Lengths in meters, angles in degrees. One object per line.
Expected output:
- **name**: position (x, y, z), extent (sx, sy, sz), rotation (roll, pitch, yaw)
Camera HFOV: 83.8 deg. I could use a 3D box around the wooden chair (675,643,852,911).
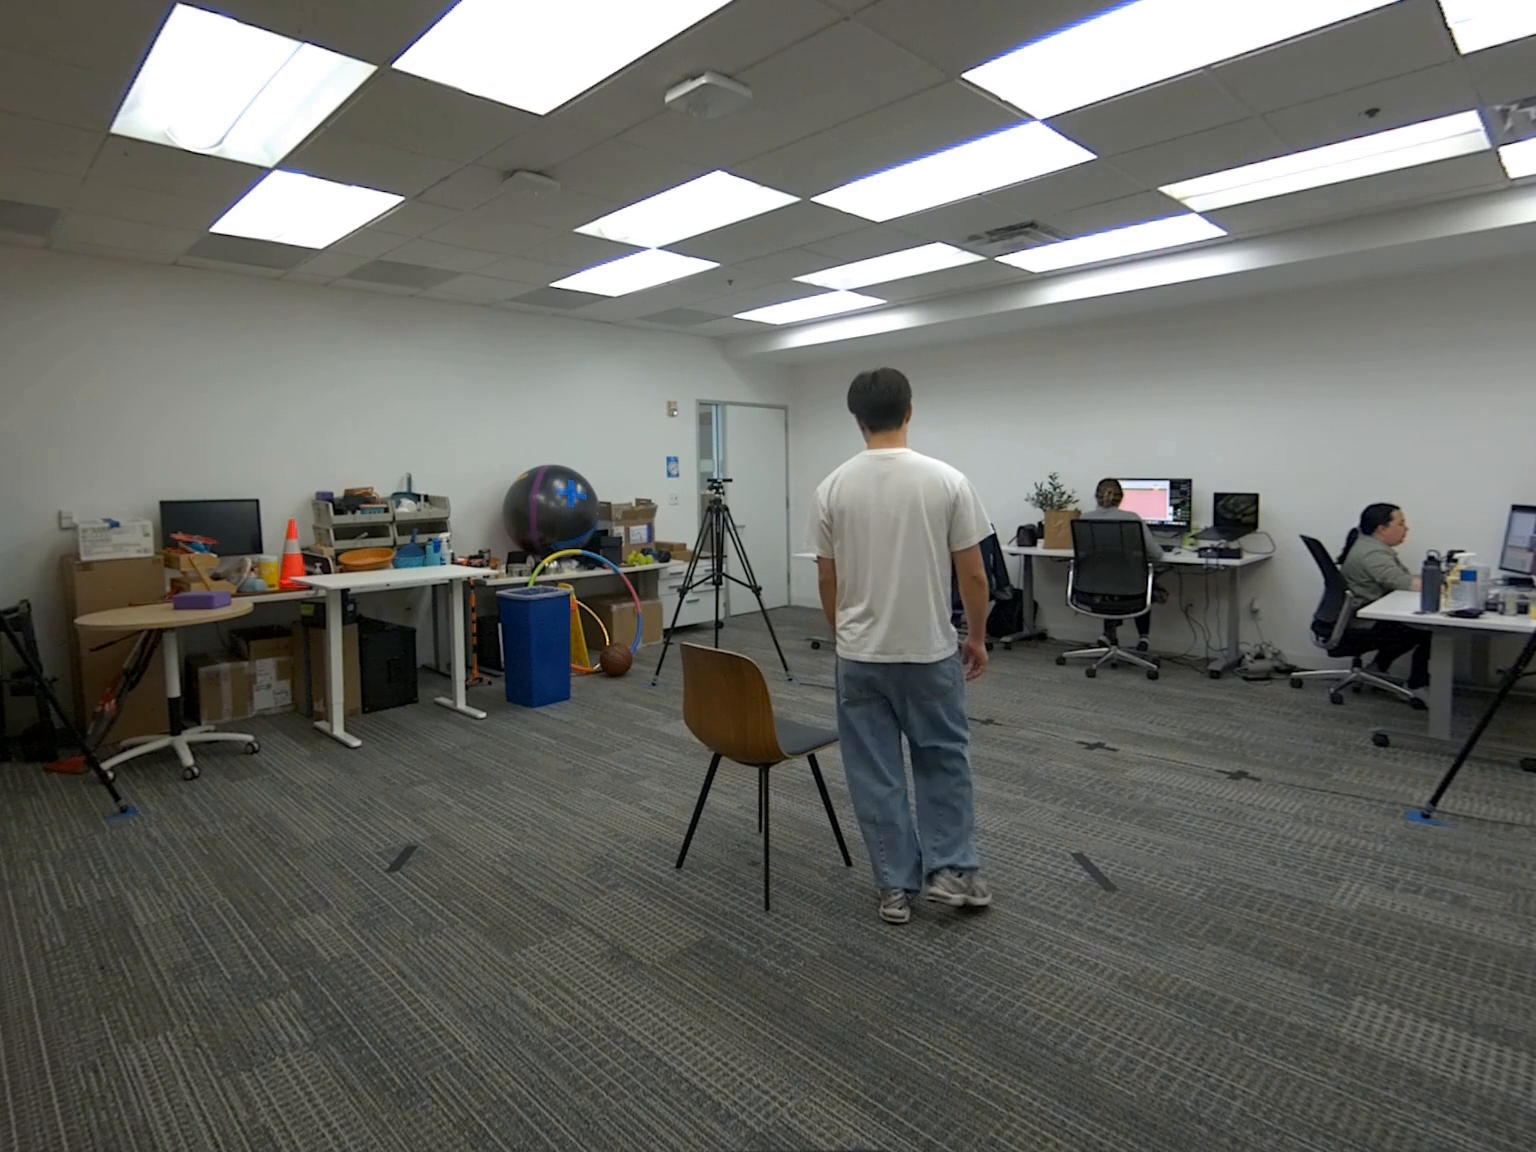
- **wooden chair**: position (-0.016, 0.622, 3.052), extent (0.493, 0.871, 0.511), rotation (3, 10, 44)
